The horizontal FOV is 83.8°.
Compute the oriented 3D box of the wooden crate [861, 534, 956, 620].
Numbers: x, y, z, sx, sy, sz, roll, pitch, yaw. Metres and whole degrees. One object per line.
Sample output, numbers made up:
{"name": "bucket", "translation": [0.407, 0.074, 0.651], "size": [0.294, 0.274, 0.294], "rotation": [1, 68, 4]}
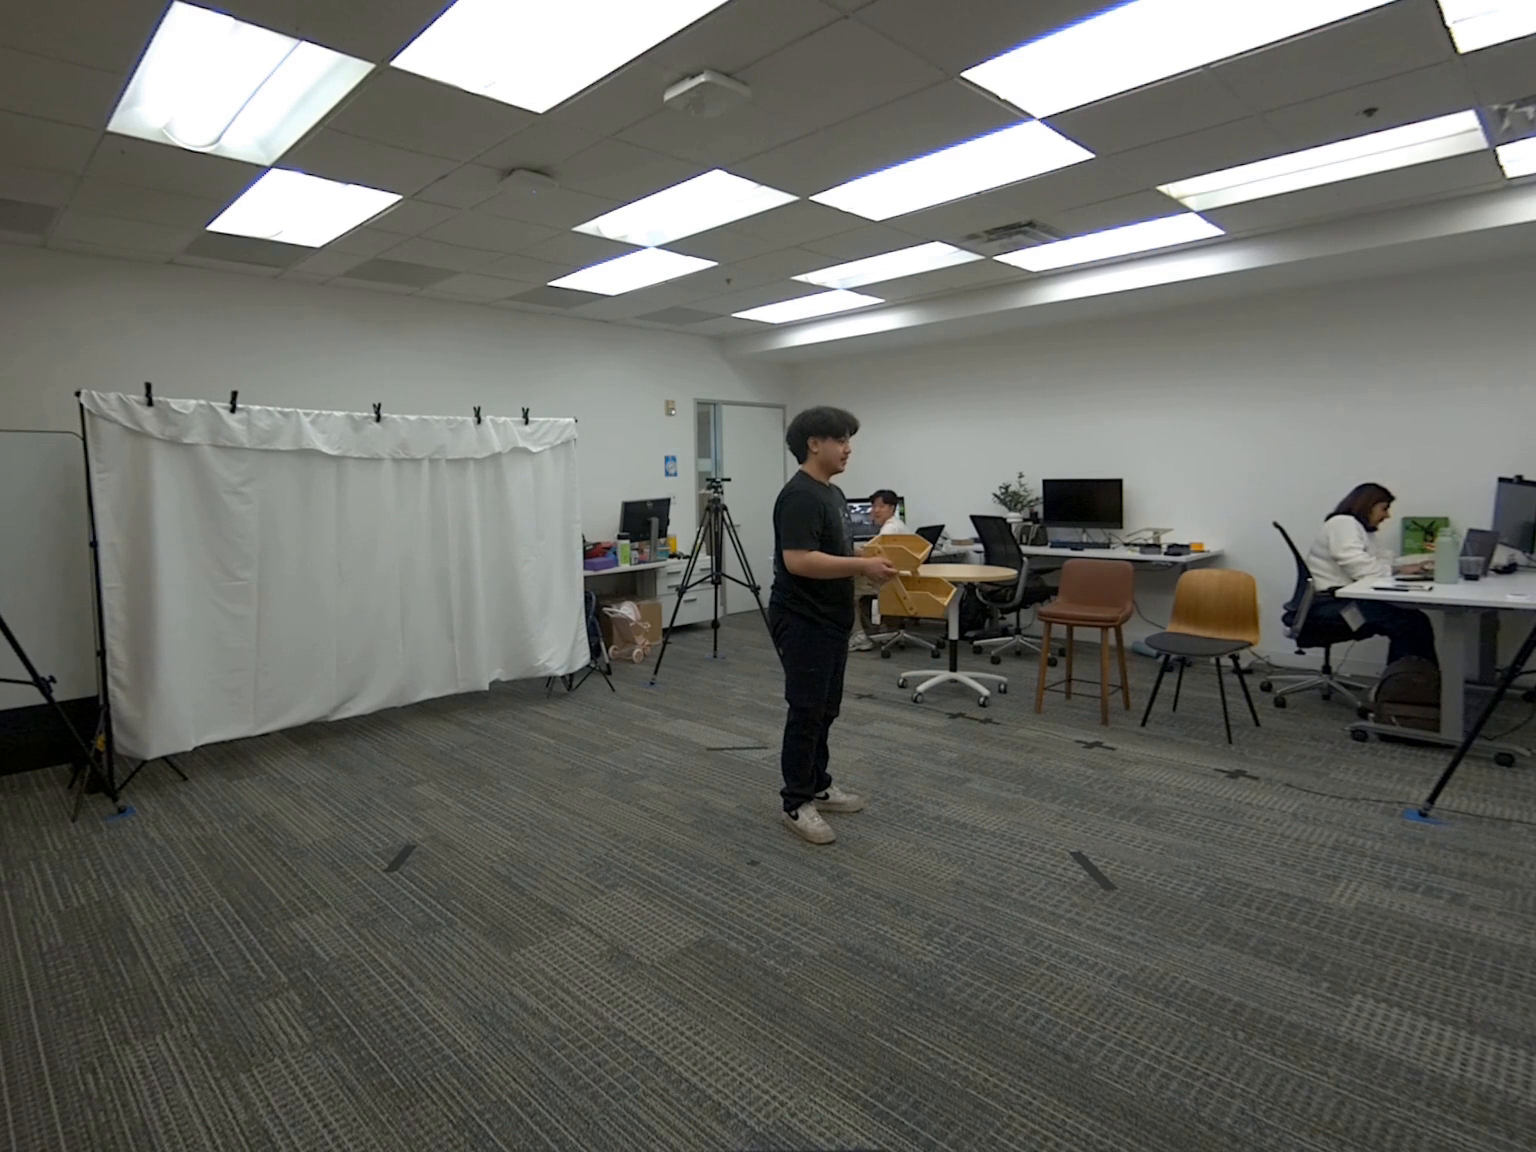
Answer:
{"name": "wooden crate", "translation": [0.550, -0.009, 3.281], "size": [0.308, 0.271, 0.321], "rotation": [1, 10, 20]}
